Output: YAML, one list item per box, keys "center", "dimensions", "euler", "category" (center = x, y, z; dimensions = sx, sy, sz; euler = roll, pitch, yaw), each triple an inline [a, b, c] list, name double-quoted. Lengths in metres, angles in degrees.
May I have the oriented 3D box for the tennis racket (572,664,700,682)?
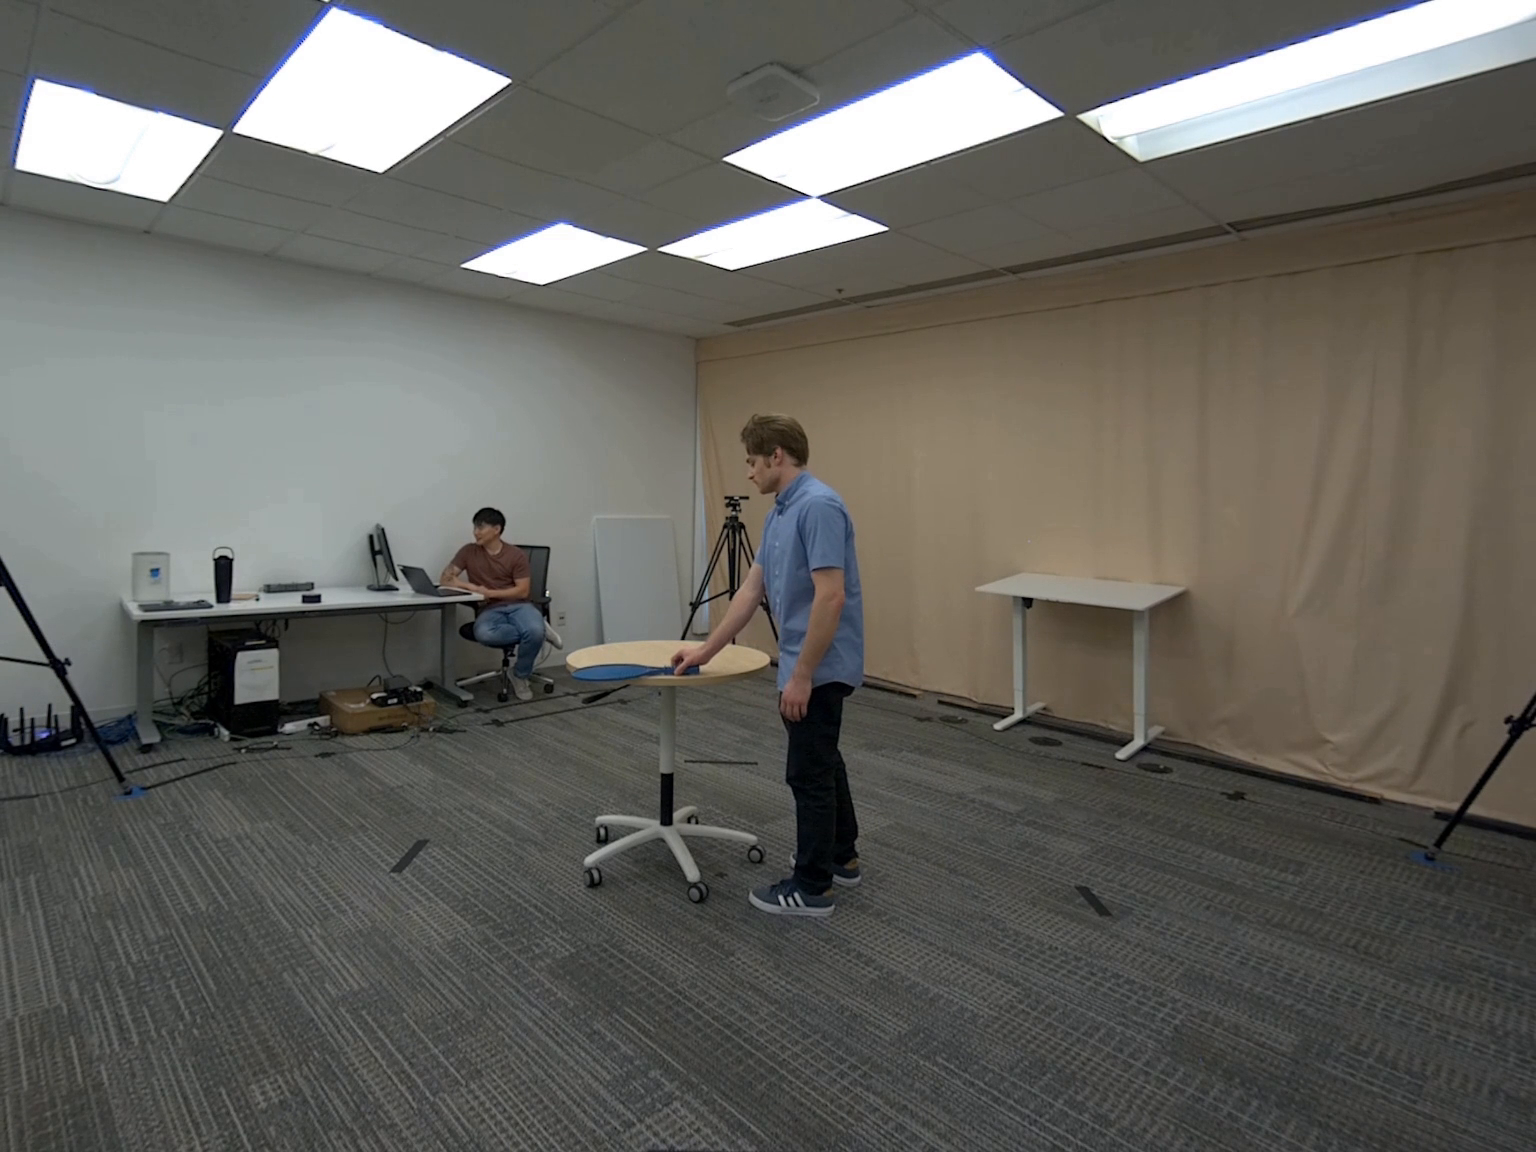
- center: [-0.459, 0.329, 2.842]
  dimensions: [0.433, 0.031, 0.214]
  euler: [-1, 6, 0]
  category: "tennis racket"
